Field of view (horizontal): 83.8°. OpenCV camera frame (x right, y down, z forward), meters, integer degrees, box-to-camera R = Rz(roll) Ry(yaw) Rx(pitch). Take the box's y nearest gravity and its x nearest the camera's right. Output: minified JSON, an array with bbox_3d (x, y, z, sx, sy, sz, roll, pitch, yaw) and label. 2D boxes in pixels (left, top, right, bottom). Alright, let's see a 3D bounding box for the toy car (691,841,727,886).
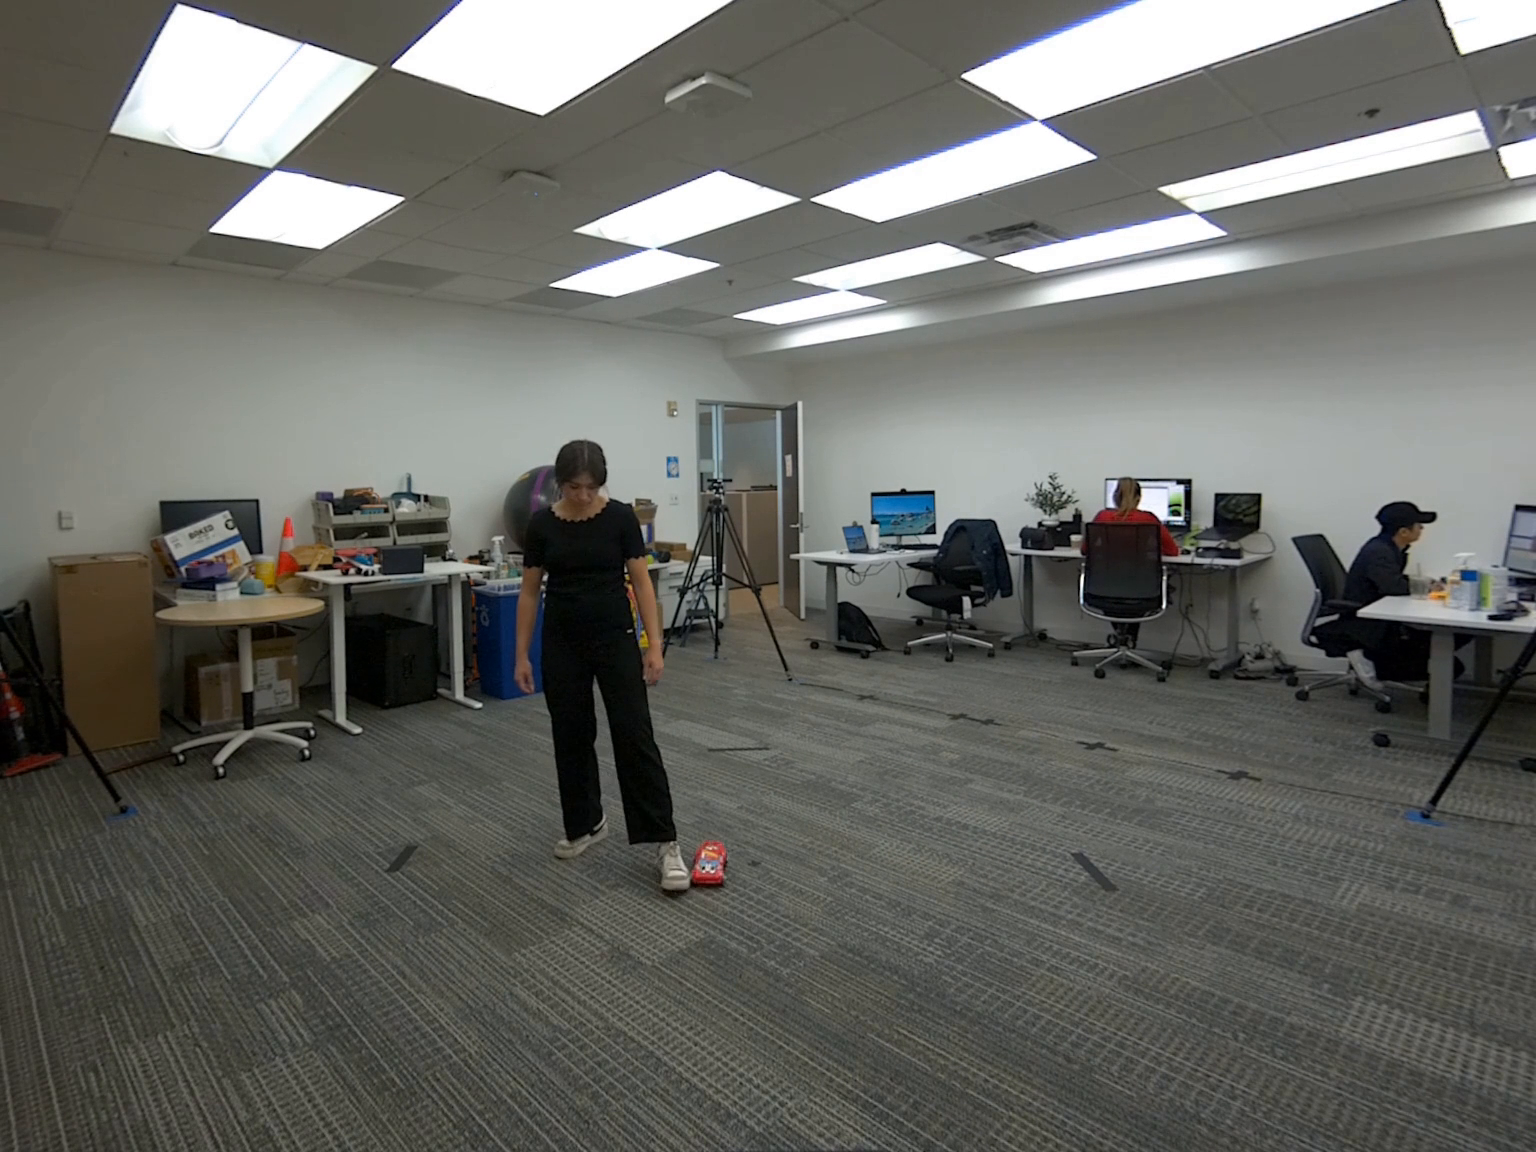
[{"bbox_3d":[-0.213,1.017,3.033,0.131,0.082,0.257,2,17,2],"label":"toy car"}]
